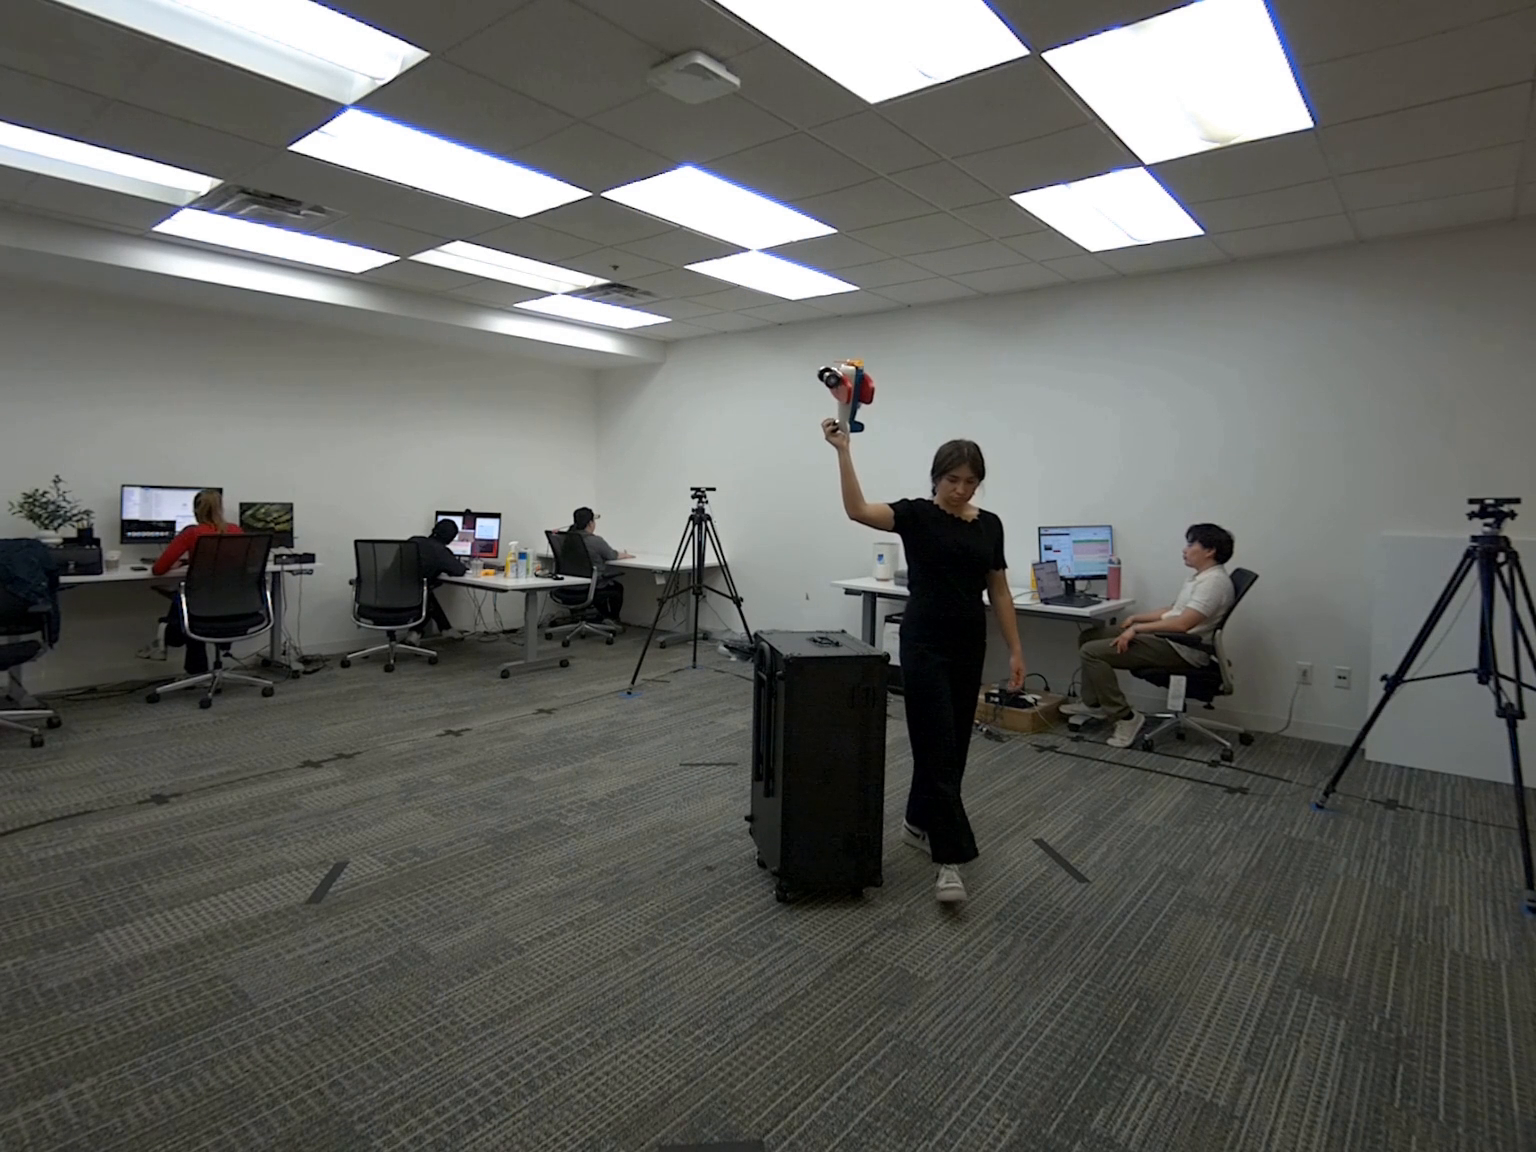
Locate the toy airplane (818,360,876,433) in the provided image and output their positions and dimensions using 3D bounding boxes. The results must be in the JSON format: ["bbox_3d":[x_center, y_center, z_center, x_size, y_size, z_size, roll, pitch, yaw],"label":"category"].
[{"bbox_3d":[0.248,-0.629,2.950,0.156,0.260,0.251,-11,-37,-3],"label":"toy airplane"}]
